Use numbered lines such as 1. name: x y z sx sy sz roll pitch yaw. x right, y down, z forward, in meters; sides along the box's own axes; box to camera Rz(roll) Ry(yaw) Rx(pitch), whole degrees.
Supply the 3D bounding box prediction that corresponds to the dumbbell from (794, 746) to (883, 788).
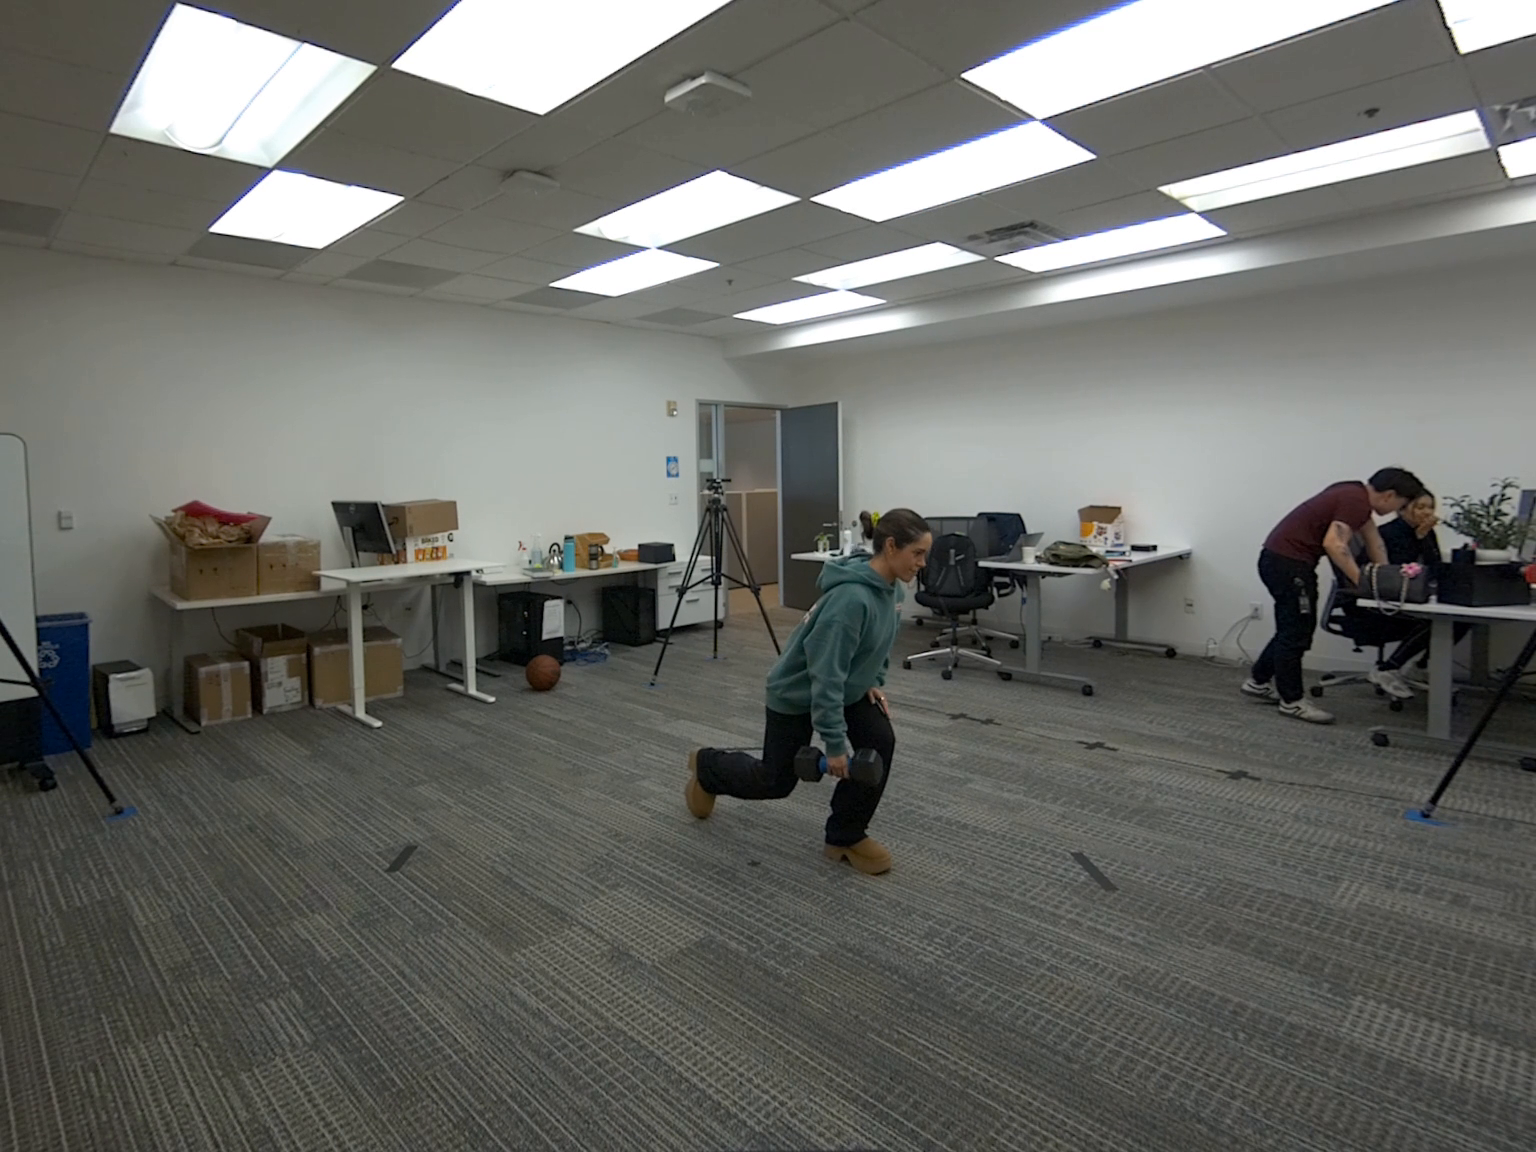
1. dumbbell: 0.241 0.655 2.938 0.300 0.110 0.118 -5 -34 31
